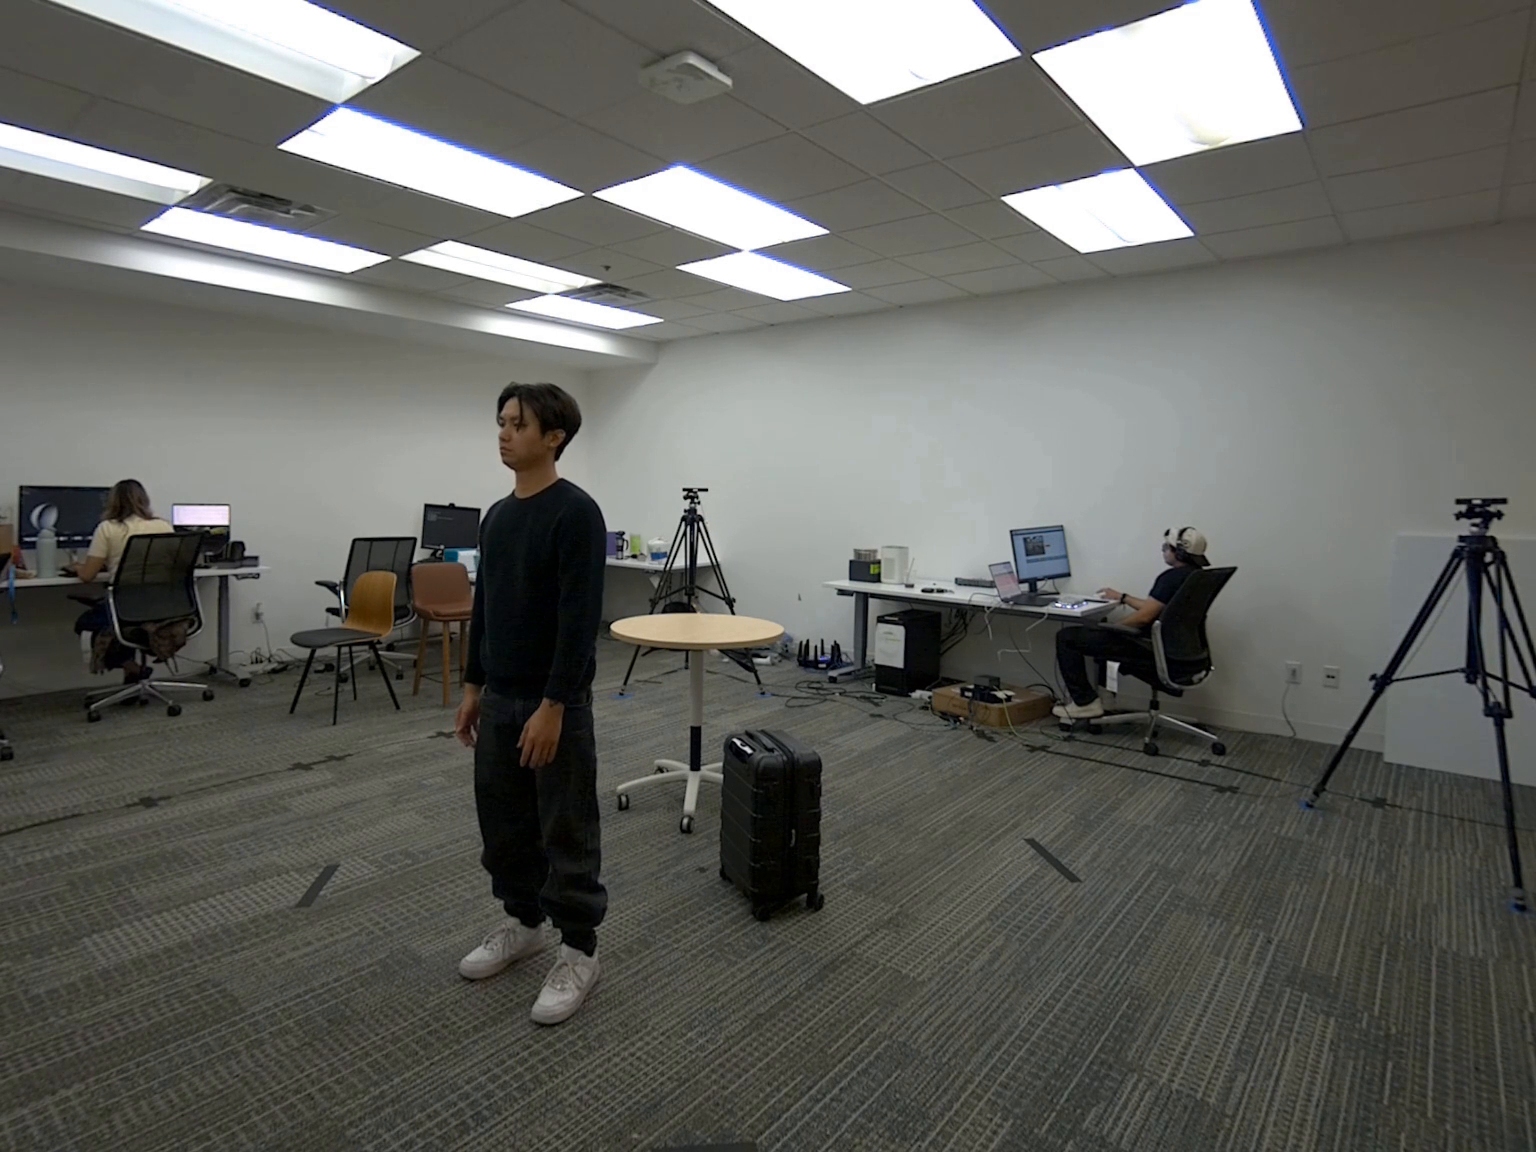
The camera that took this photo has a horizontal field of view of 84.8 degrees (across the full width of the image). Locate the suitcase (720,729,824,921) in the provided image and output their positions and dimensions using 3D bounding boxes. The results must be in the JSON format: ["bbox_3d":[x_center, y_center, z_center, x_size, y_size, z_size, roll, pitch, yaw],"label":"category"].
[{"bbox_3d":[-0.007,0.814,2.907,0.243,0.547,0.385,-1,4,-23],"label":"suitcase"}]
